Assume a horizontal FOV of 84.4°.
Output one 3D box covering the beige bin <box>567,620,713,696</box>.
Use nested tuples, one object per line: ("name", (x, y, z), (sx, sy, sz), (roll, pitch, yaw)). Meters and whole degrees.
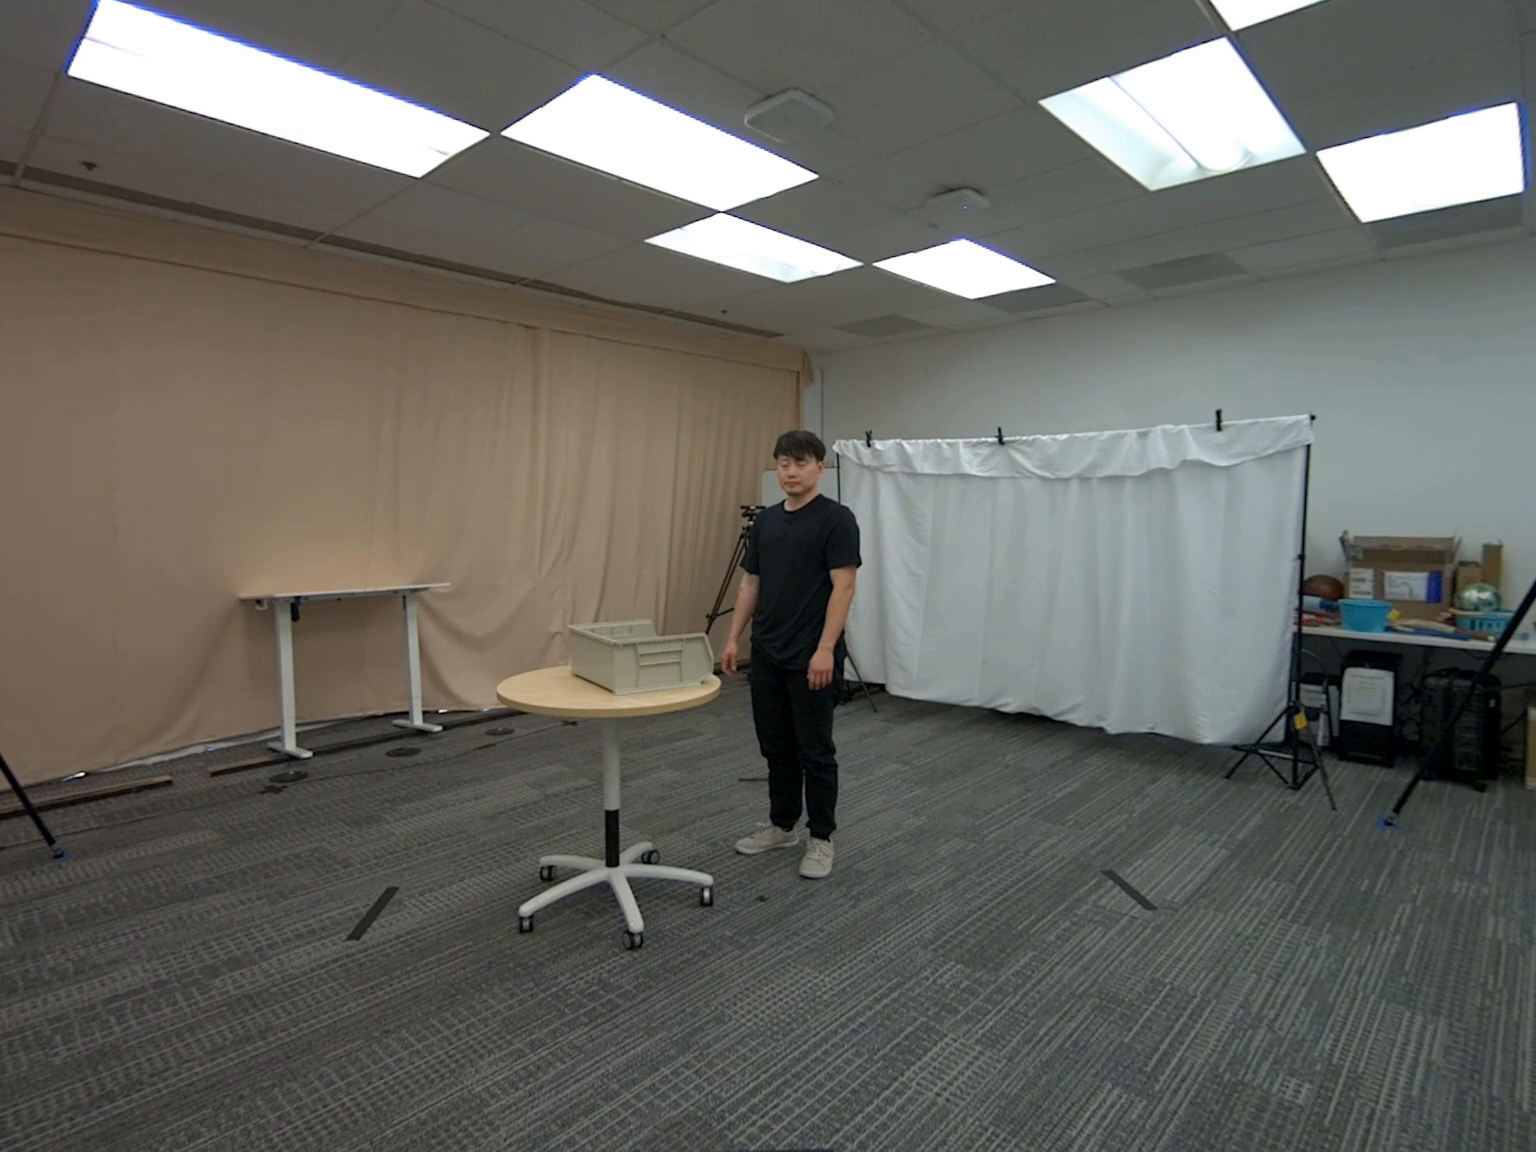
("beige bin", (-0.454, 0.277, 2.972), (0.367, 0.188, 0.435), (-4, 7, -33))
